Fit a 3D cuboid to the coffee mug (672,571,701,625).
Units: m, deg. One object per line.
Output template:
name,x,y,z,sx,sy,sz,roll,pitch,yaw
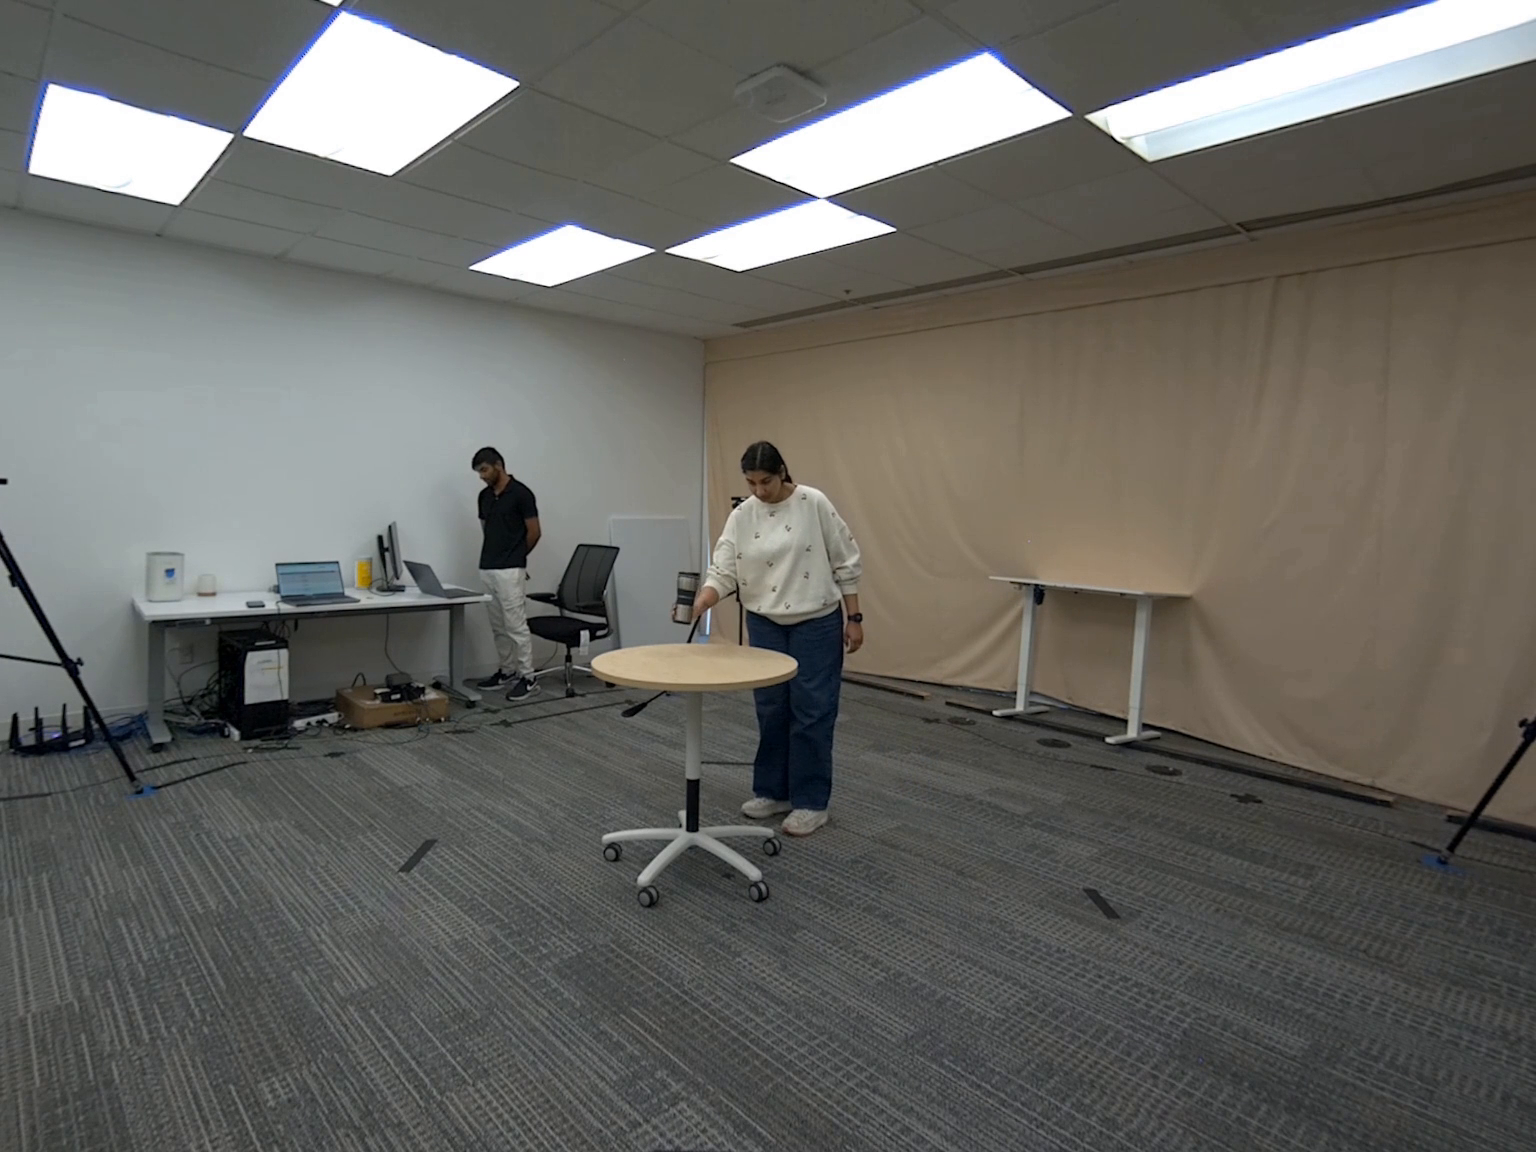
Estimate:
coffee mug,-0.345,0.089,3.246,0.119,0.203,0.089,11,-3,-23
